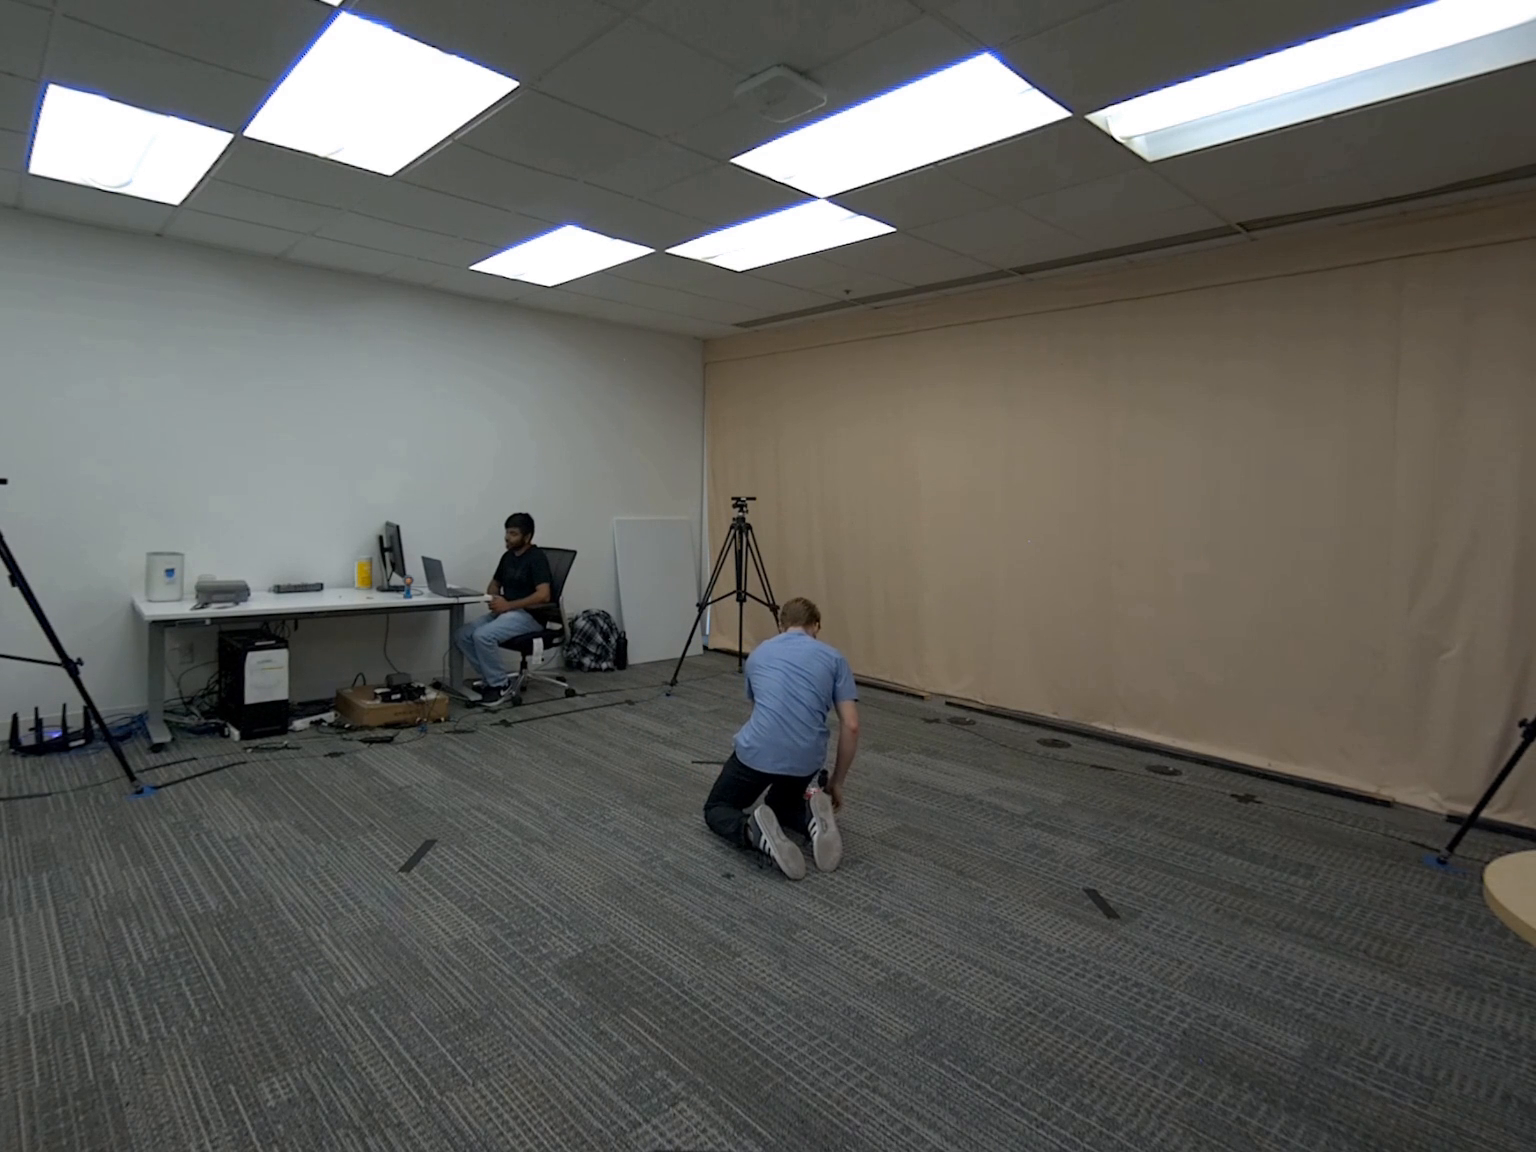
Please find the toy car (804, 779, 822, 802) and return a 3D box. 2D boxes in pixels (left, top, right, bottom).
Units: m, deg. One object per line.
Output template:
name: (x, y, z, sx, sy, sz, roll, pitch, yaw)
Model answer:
toy car: (0.135, 1.013, 3.972, 0.262, 0.083, 0.127, 18, 14, 40)
